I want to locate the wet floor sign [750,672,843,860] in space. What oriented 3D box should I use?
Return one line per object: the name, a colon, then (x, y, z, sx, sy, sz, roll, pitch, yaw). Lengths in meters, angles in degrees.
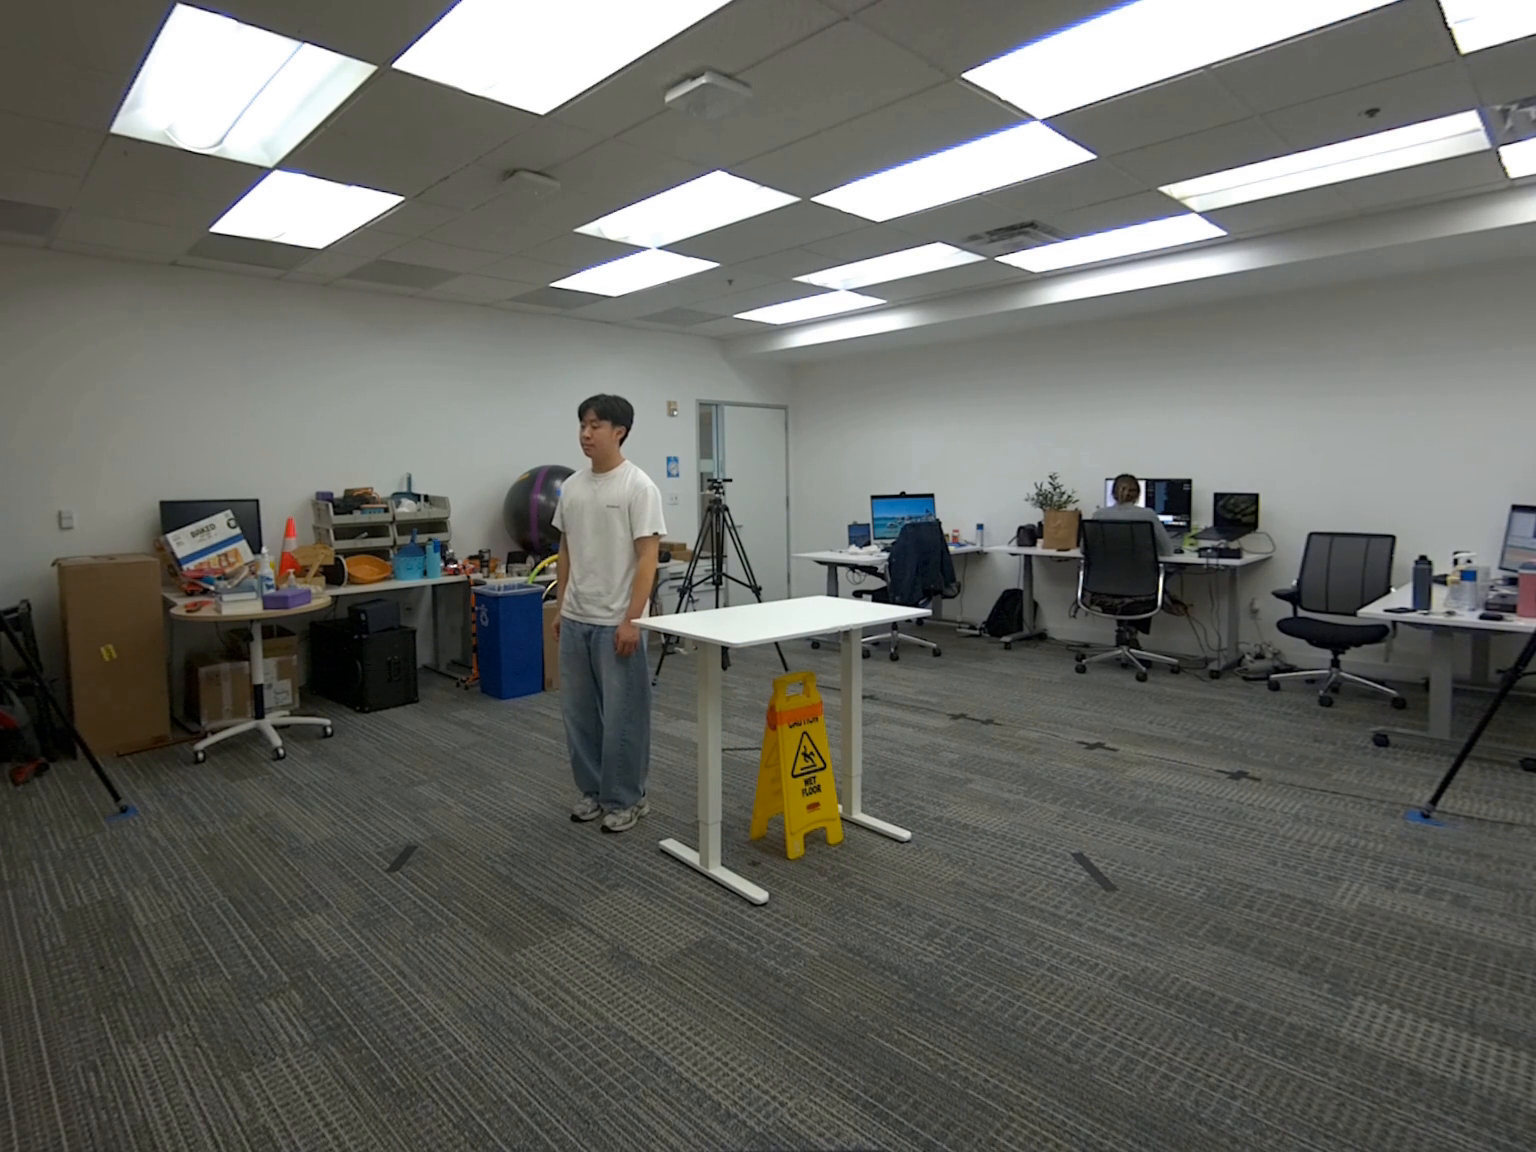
wet floor sign: (0.103, 0.695, 3.284, 0.275, 0.643, 0.298, -4, 6, -39)
